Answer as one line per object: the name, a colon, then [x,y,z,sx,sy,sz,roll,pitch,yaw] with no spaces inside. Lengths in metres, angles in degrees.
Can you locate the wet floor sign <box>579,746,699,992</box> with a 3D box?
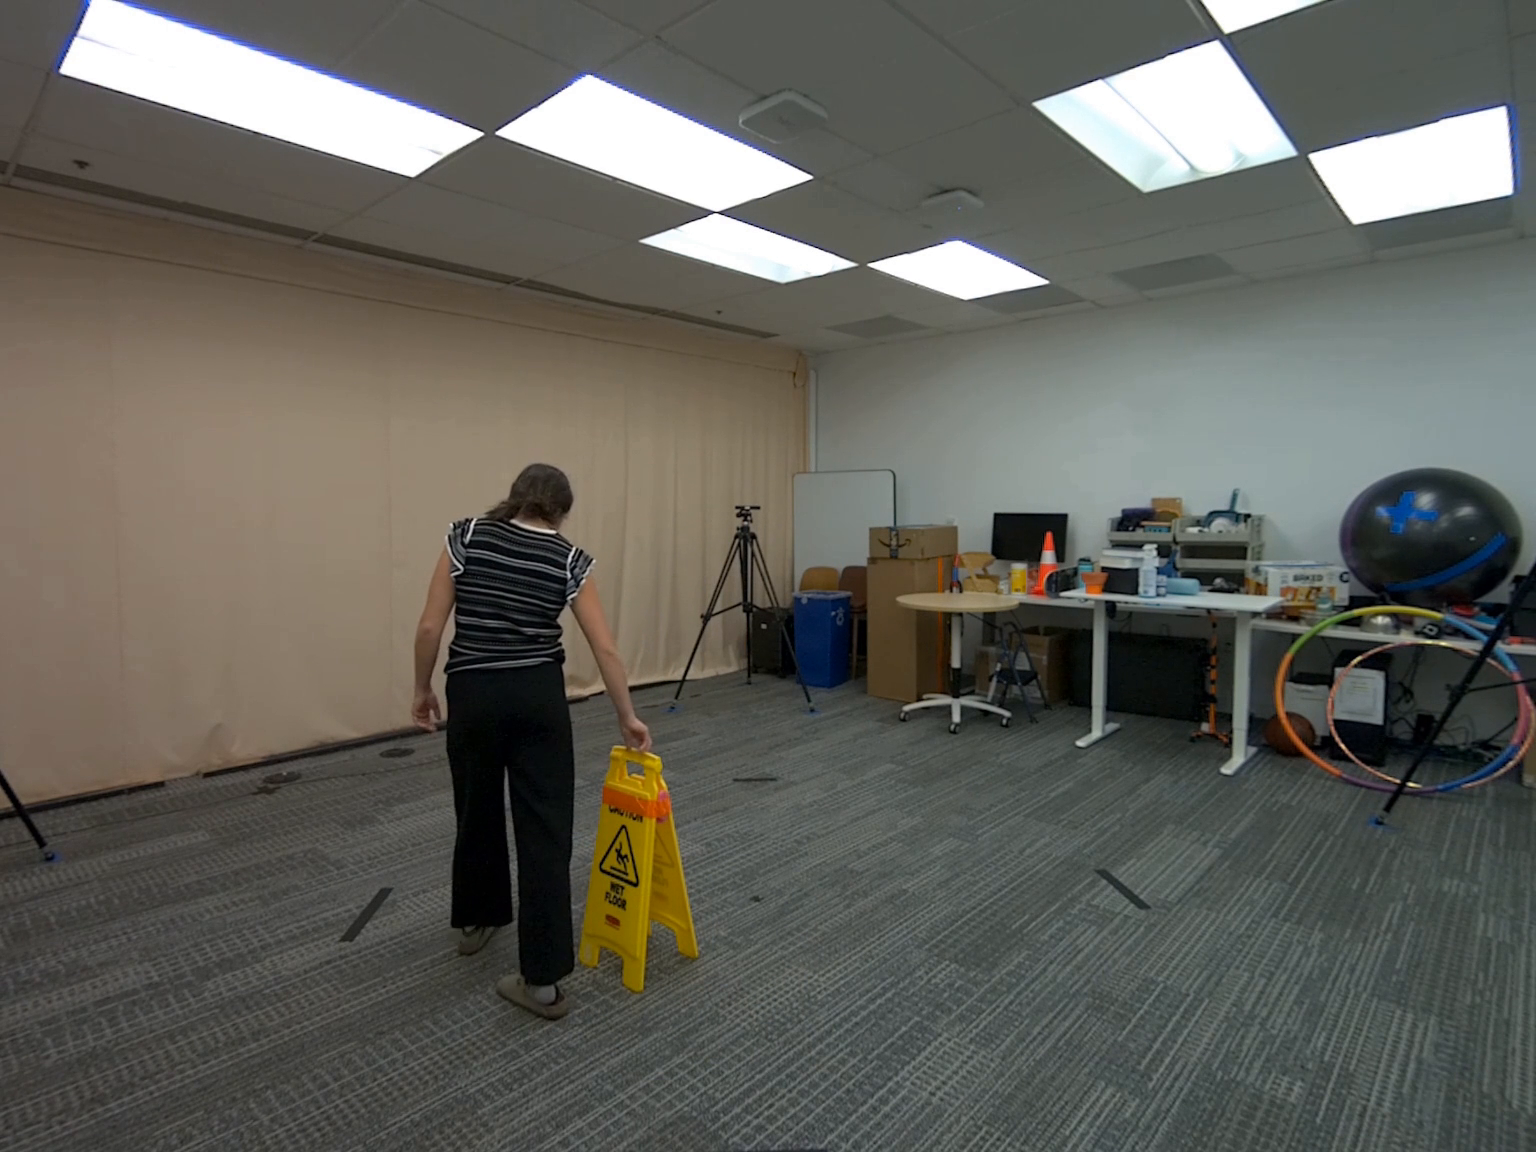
wet floor sign: [-0.404,0.856,2.565,0.291,0.645,0.281,1,4,38]
